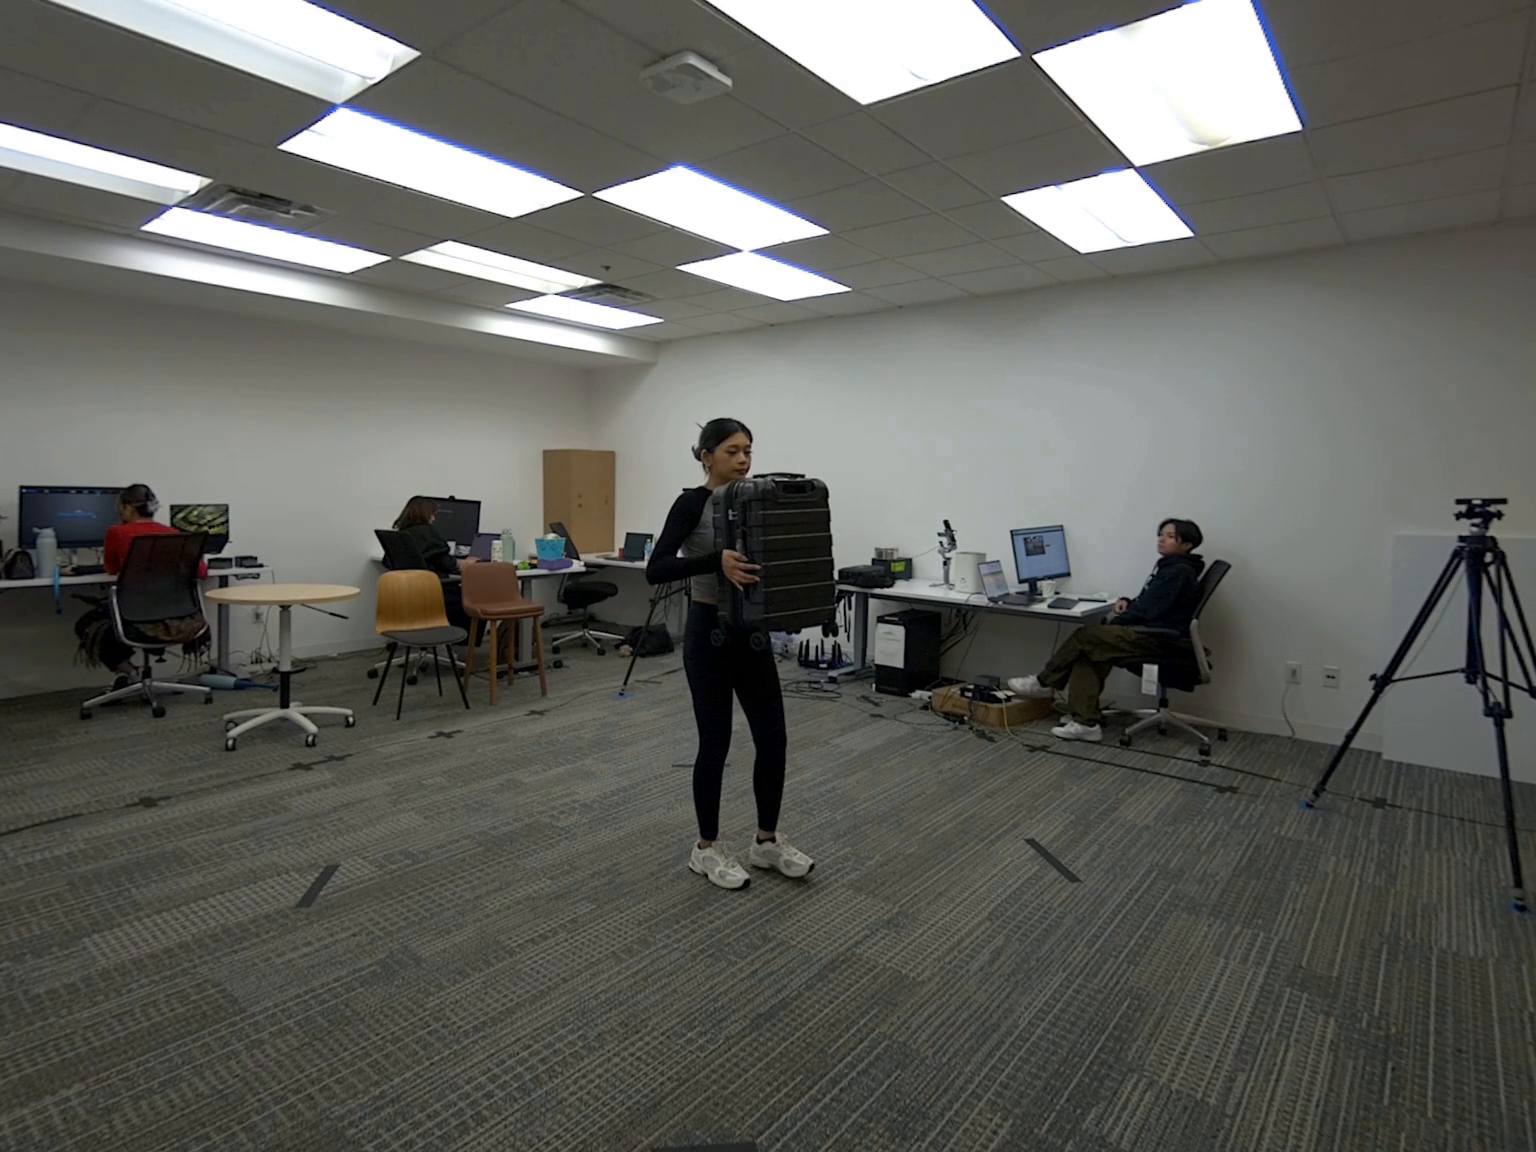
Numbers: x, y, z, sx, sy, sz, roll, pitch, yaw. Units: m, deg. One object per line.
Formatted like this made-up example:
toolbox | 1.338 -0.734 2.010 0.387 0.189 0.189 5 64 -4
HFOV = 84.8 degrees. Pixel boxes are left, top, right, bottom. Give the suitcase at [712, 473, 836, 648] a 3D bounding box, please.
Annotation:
suitcase | 0.016 -0.064 2.818 0.364 0.549 0.256 -5 2 -41
